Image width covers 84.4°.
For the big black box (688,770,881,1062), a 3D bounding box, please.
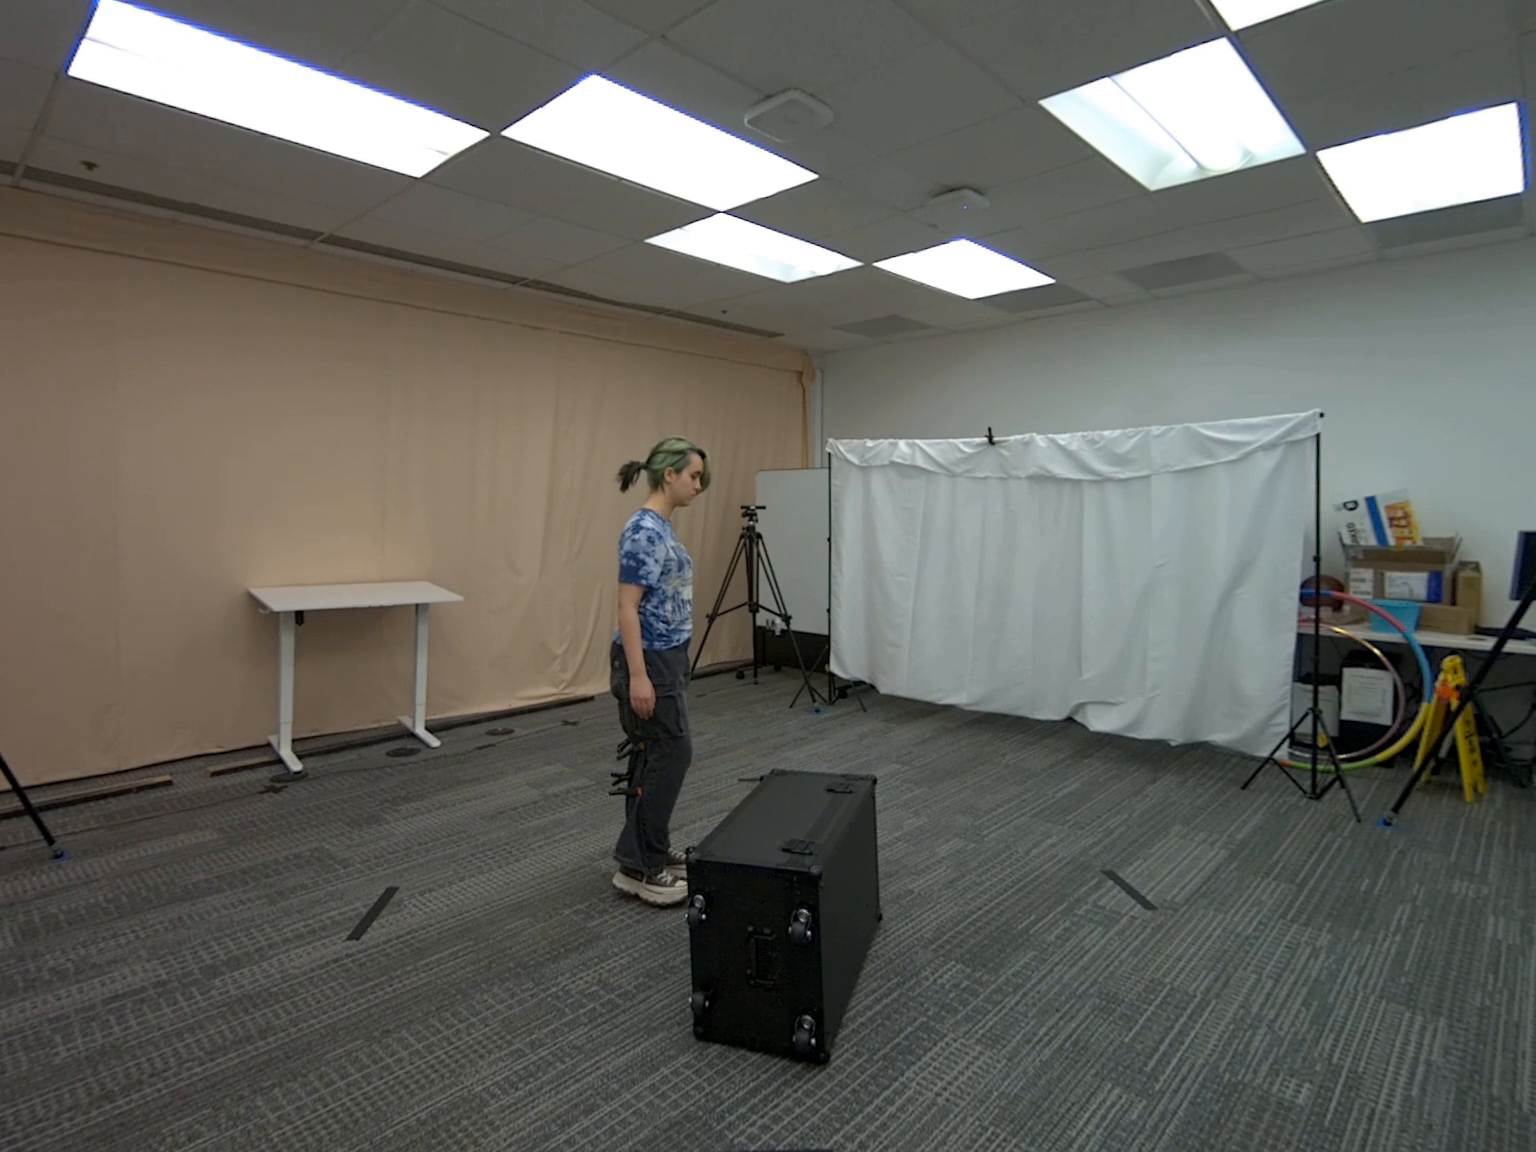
[{"bbox_3d":[0.059,0.931,2.461,0.404,0.520,0.845,-2,3,19],"label":"big black box"}]
